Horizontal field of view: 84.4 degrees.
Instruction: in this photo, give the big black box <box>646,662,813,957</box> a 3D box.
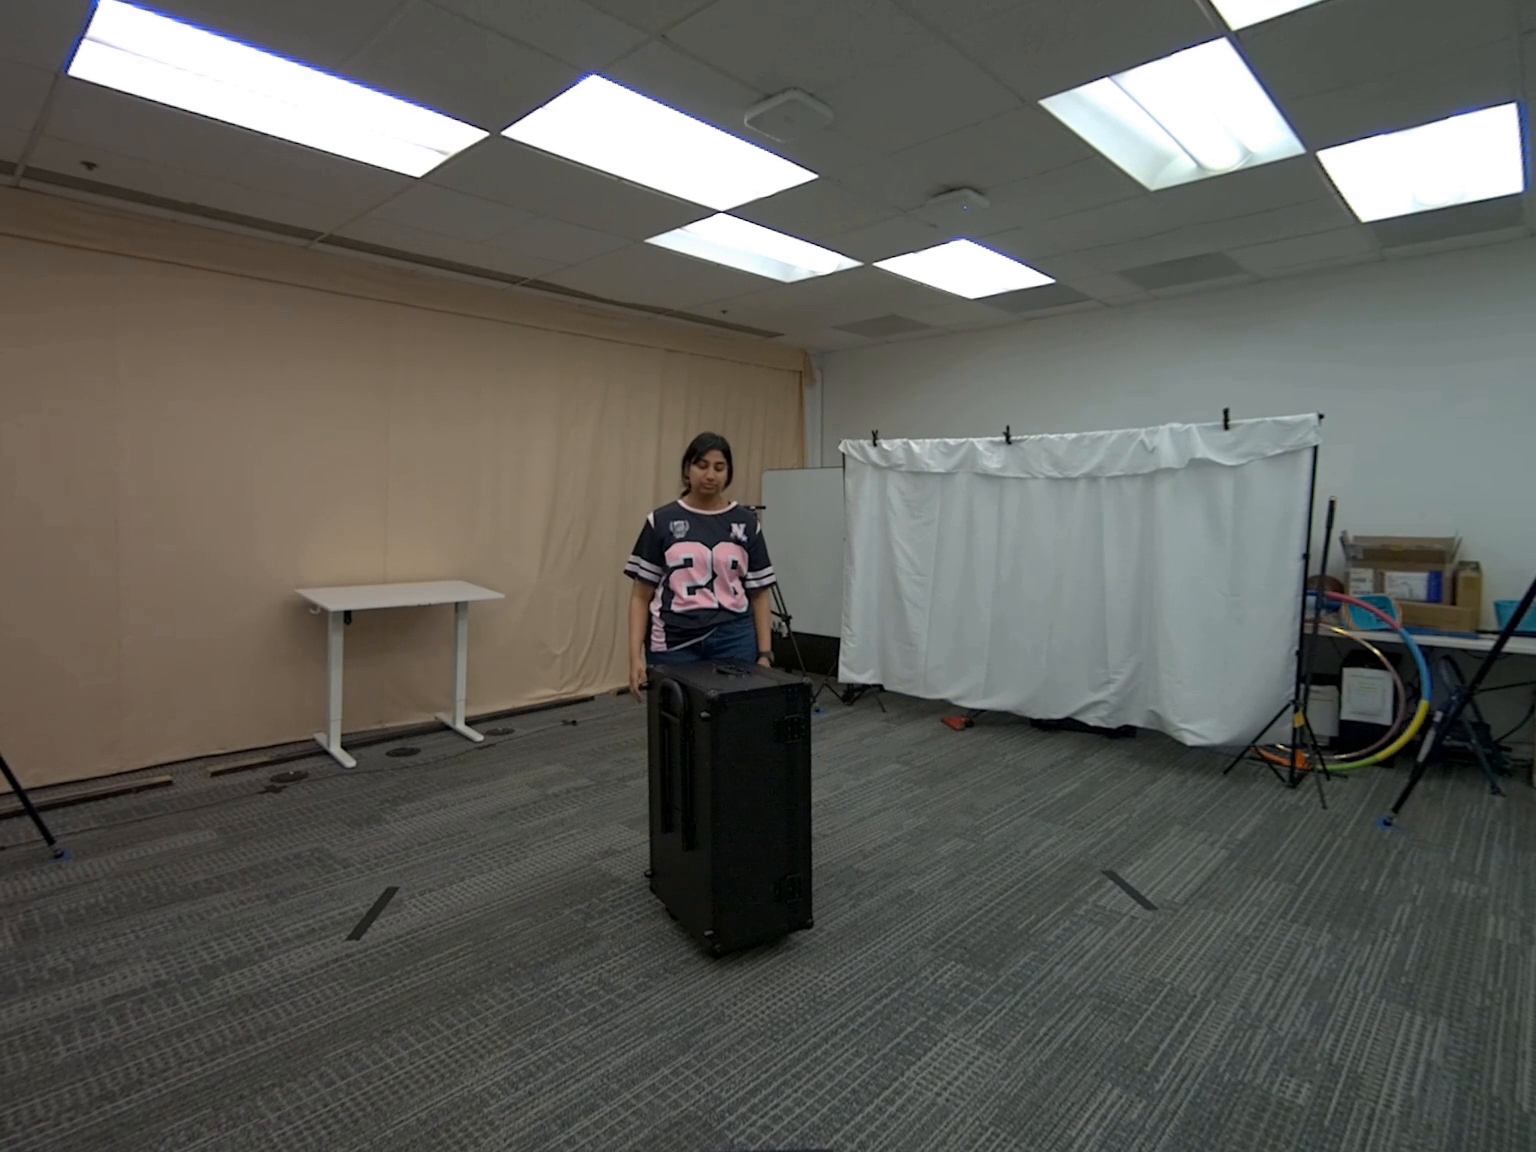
[{"bbox_3d":[-0.128,0.741,2.738,0.375,0.867,0.539,-2,4,-30],"label":"big black box"}]
